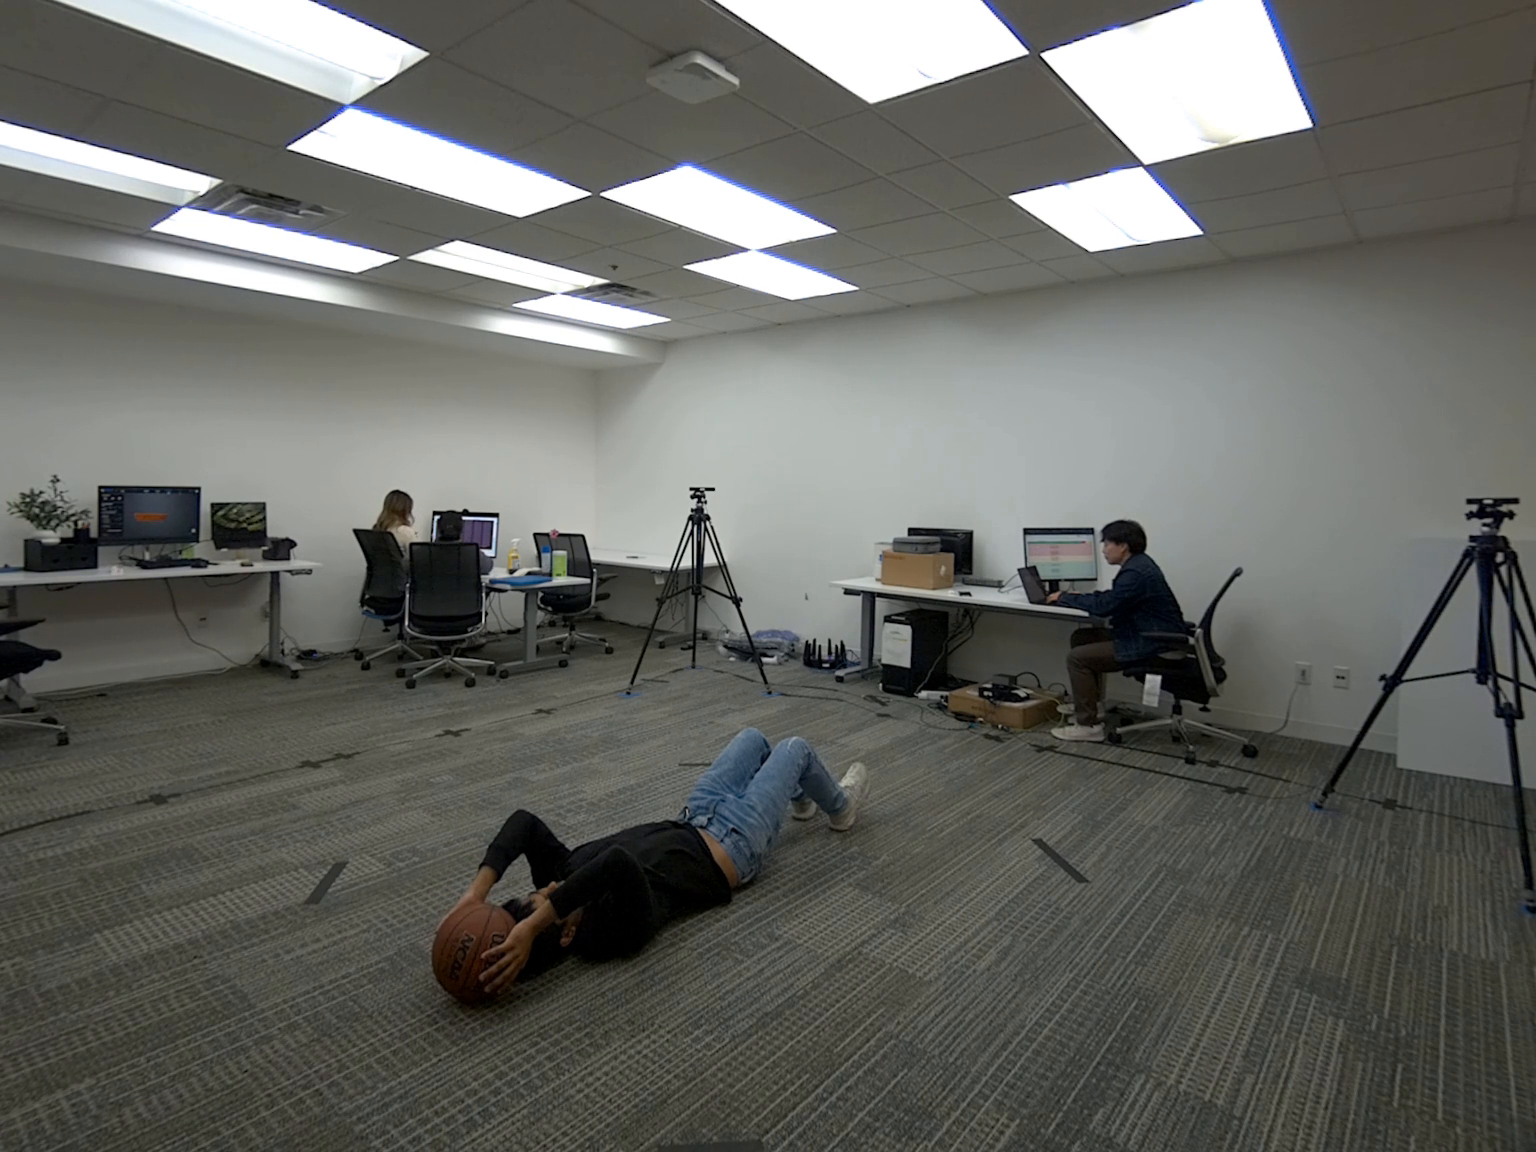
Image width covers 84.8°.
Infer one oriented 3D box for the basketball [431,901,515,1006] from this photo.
[{"bbox_3d":[-0.802,1.014,2.315,0.235,0.235,0.237,1,4,-2],"label":"basketball"}]
